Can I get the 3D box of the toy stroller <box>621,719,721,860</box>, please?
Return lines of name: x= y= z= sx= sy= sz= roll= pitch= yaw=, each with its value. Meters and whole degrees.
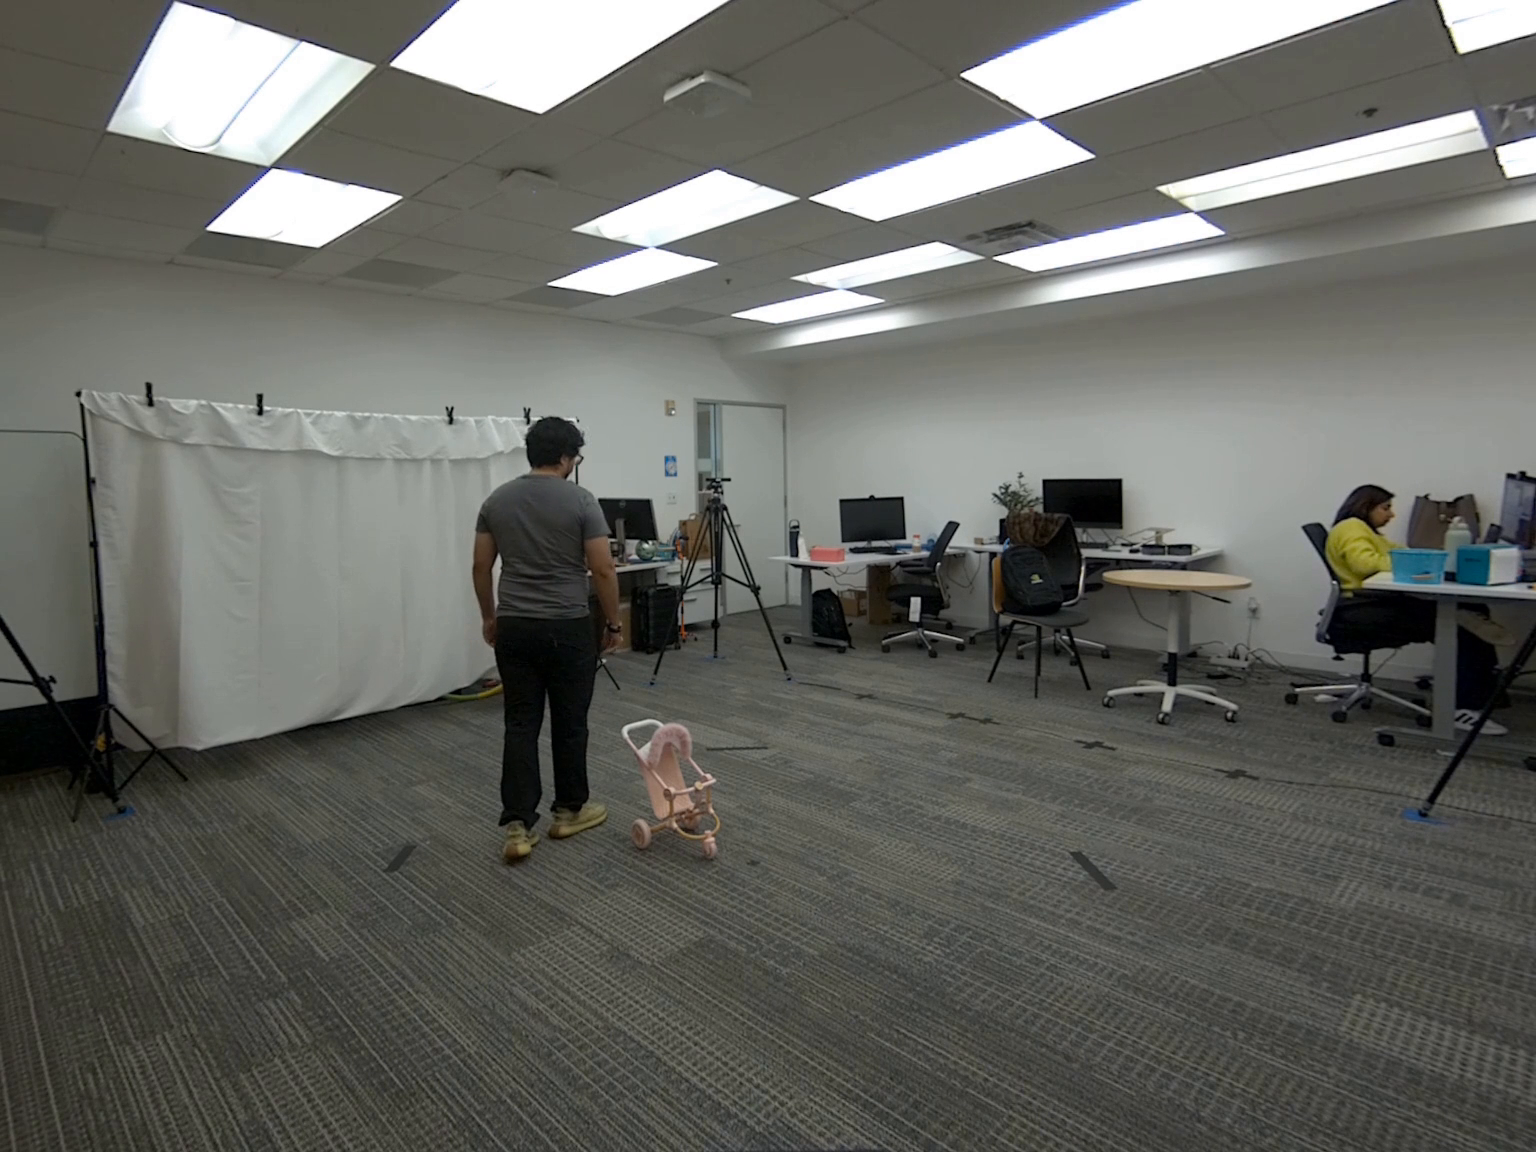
toy stroller: x=-0.355 y=0.803 z=3.267 sx=0.274 sy=0.540 sz=0.347 roll=-6 pitch=-11 yaw=-40
